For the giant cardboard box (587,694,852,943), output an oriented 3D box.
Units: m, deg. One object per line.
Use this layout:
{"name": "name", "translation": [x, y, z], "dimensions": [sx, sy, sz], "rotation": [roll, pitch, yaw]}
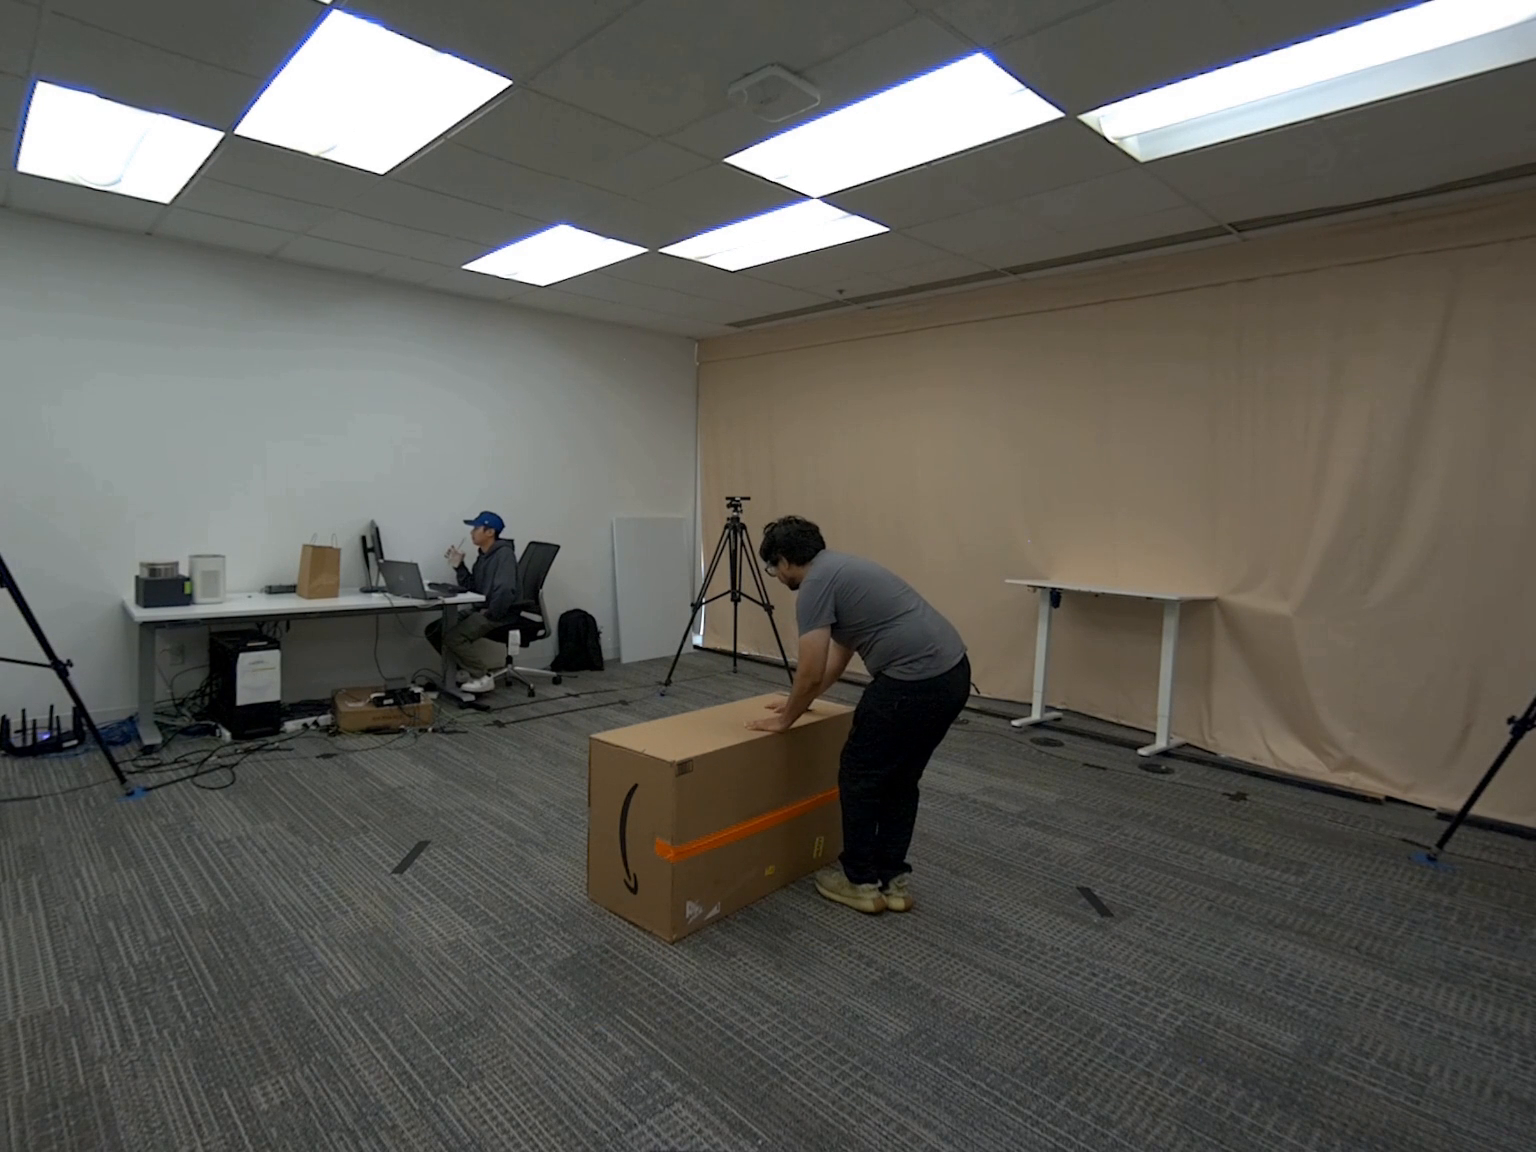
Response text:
{"name": "giant cardboard box", "translation": [-0.131, 0.817, 3.109], "dimensions": [0.437, 0.576, 1.003], "rotation": [5, 6, 41]}
